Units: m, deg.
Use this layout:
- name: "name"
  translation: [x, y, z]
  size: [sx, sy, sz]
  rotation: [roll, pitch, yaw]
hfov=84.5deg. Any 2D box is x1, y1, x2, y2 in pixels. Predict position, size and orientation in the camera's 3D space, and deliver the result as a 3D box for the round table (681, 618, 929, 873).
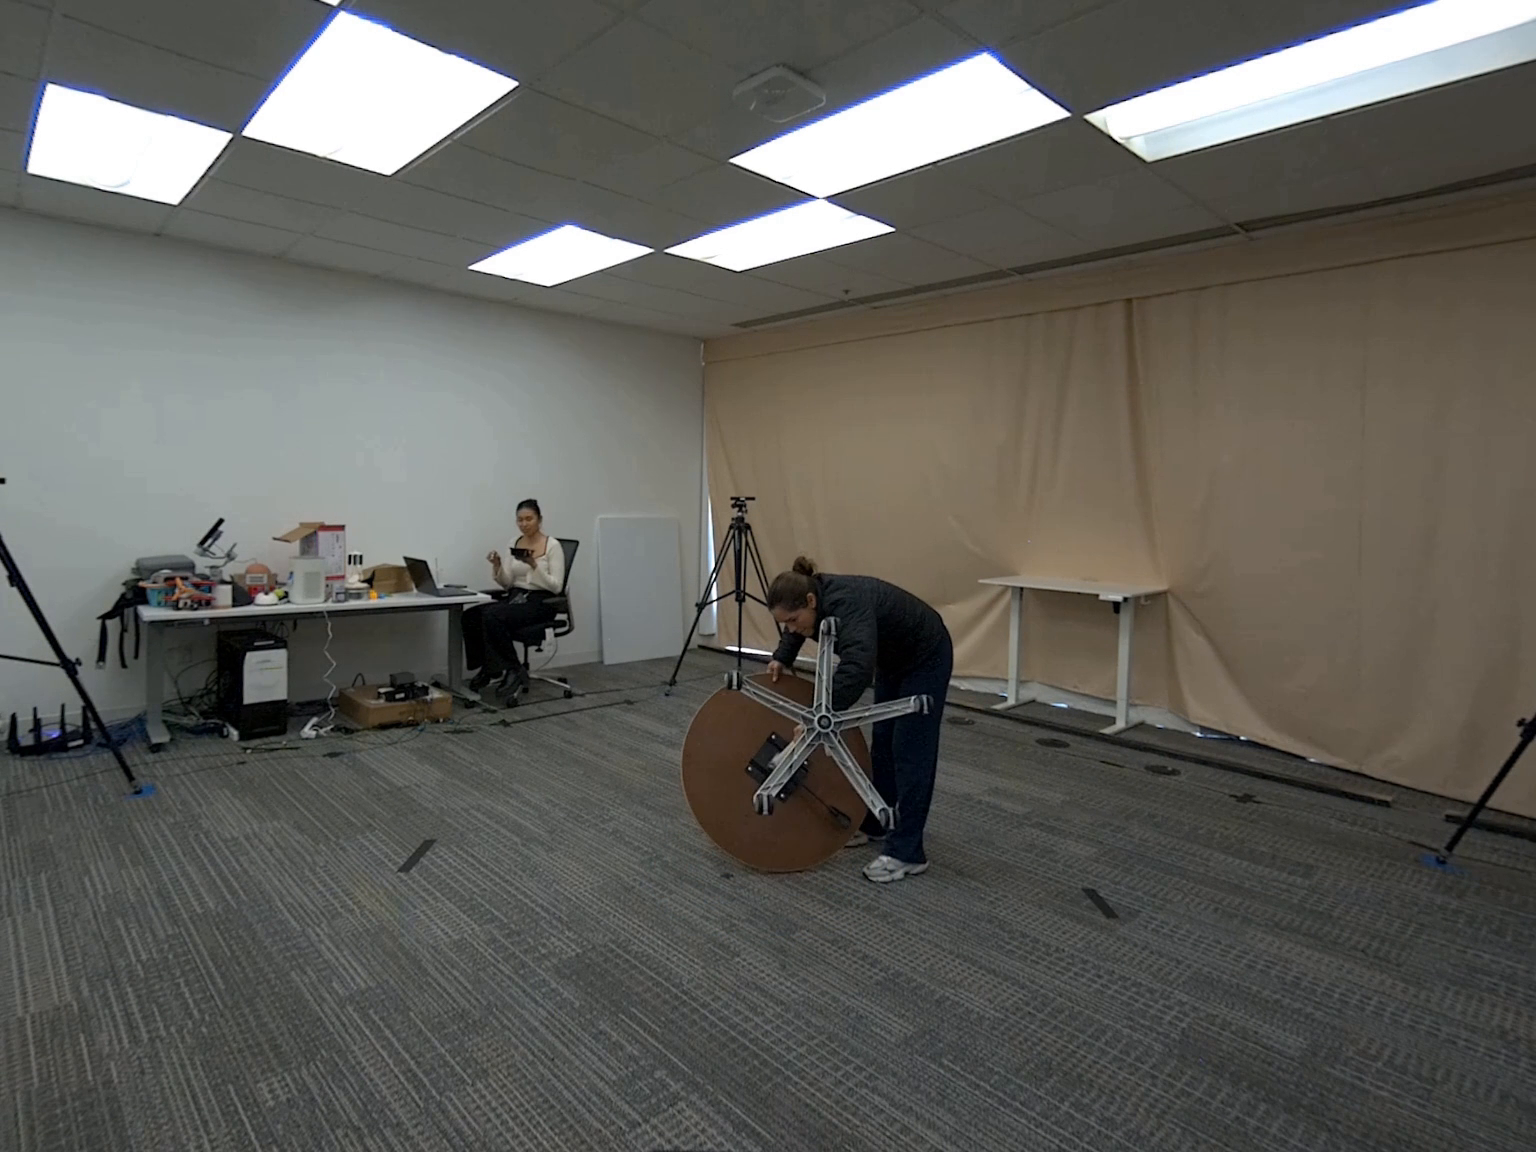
- name: "round table"
  translation: [0.115, 0.607, 2.950]
  size: [0.779, 0.799, 0.778]
  rotation: [1, -25, -10]
